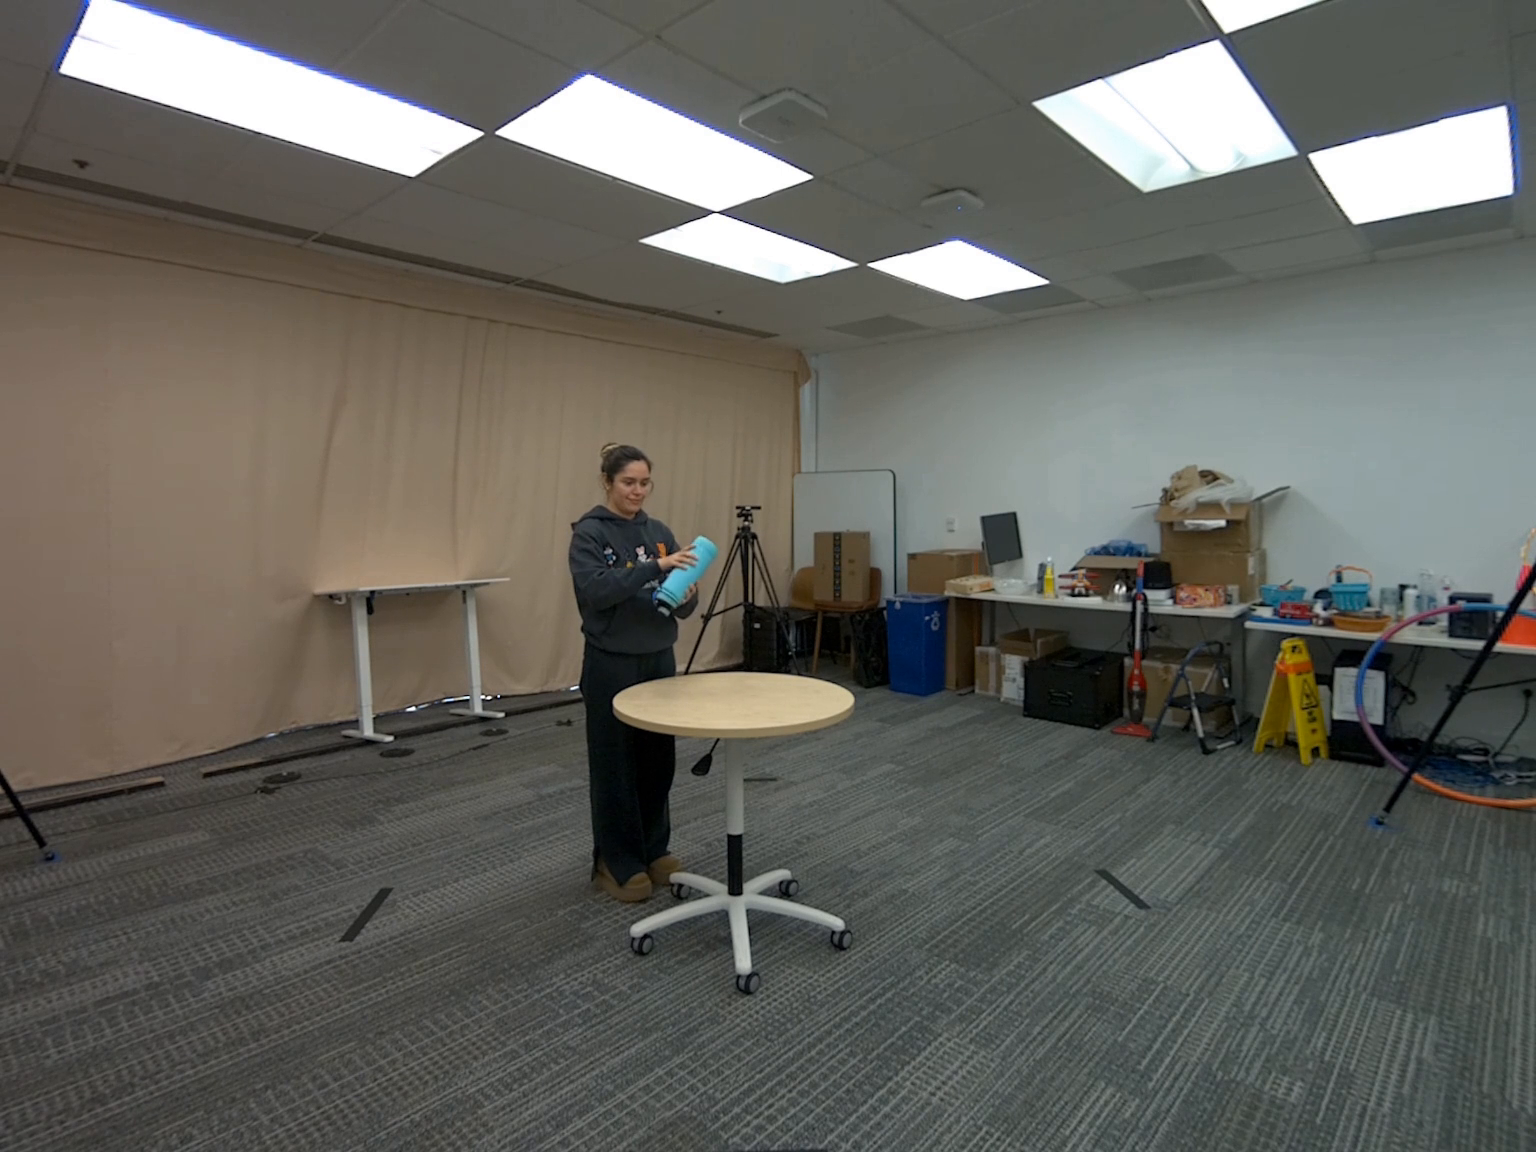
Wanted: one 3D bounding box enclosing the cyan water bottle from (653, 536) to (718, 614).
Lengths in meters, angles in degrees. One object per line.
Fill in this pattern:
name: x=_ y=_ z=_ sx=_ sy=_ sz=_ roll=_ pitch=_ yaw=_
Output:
cyan water bottle: x=-0.274 y=0.004 z=2.809 sx=0.093 sy=0.283 sz=0.091 roll=33 pitch=-15 yaw=8
